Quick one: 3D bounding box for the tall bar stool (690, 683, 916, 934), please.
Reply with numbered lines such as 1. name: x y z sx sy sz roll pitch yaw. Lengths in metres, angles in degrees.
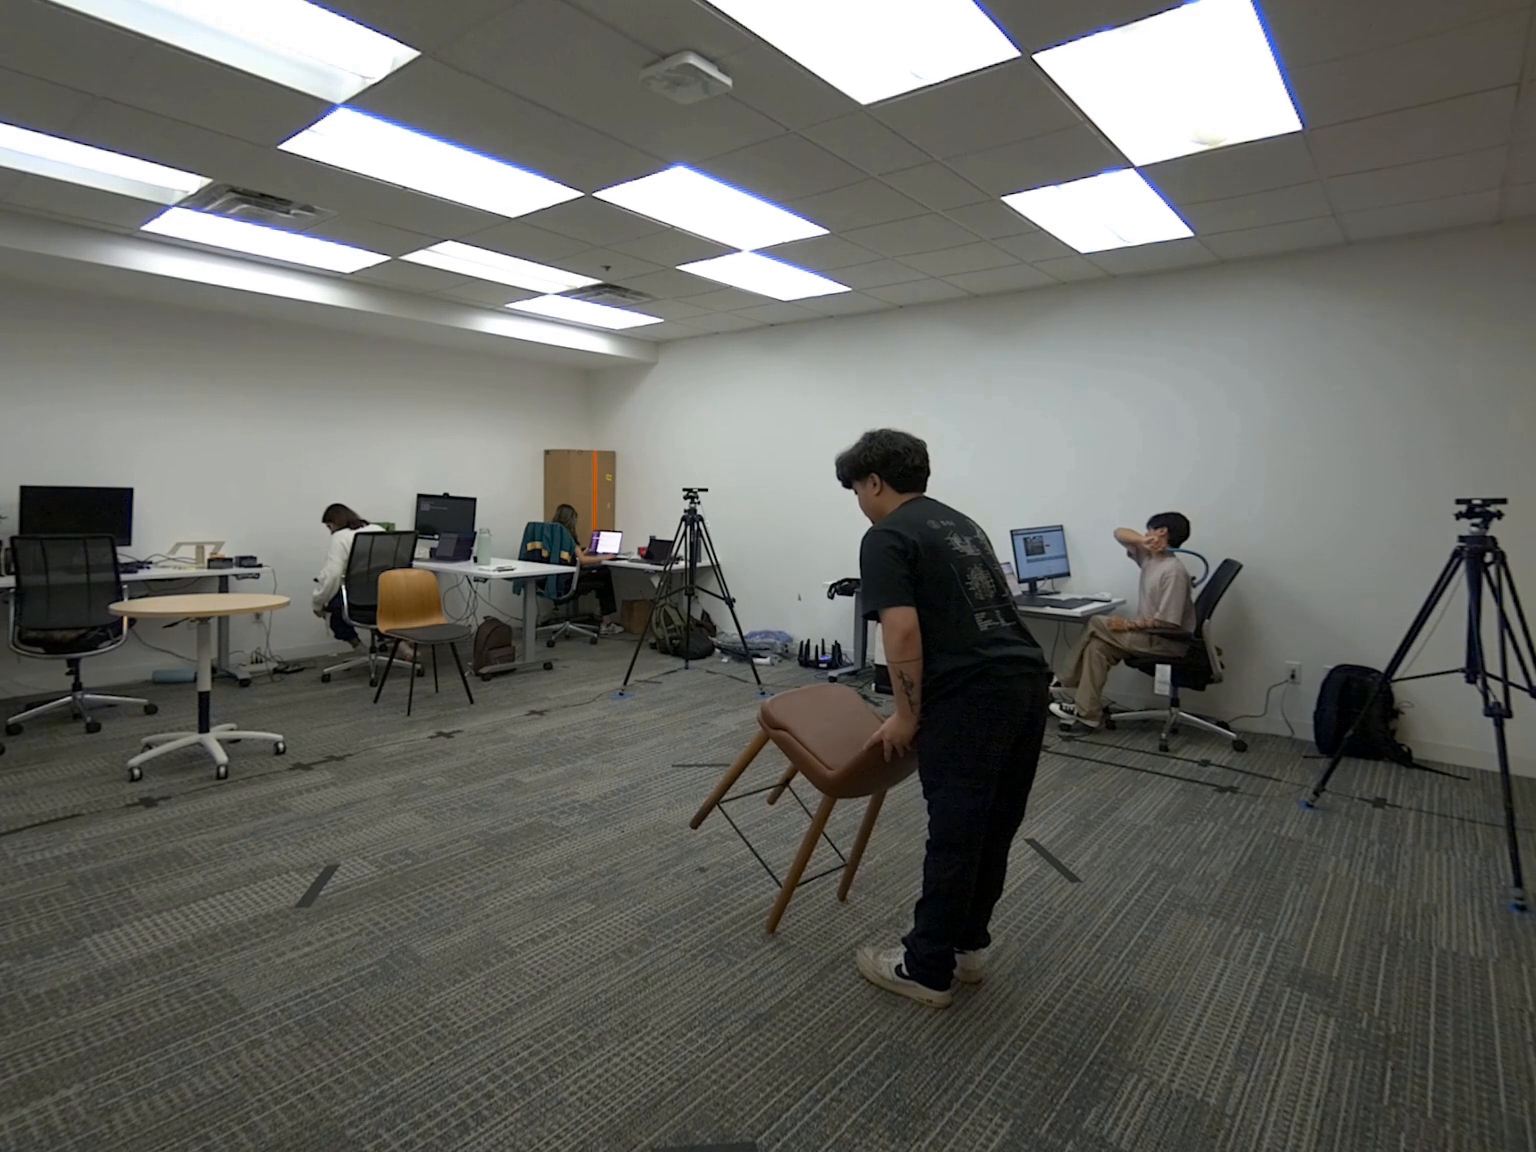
1. tall bar stool: 0.170 0.631 2.731 0.442 0.881 0.487 -1 38 -44
